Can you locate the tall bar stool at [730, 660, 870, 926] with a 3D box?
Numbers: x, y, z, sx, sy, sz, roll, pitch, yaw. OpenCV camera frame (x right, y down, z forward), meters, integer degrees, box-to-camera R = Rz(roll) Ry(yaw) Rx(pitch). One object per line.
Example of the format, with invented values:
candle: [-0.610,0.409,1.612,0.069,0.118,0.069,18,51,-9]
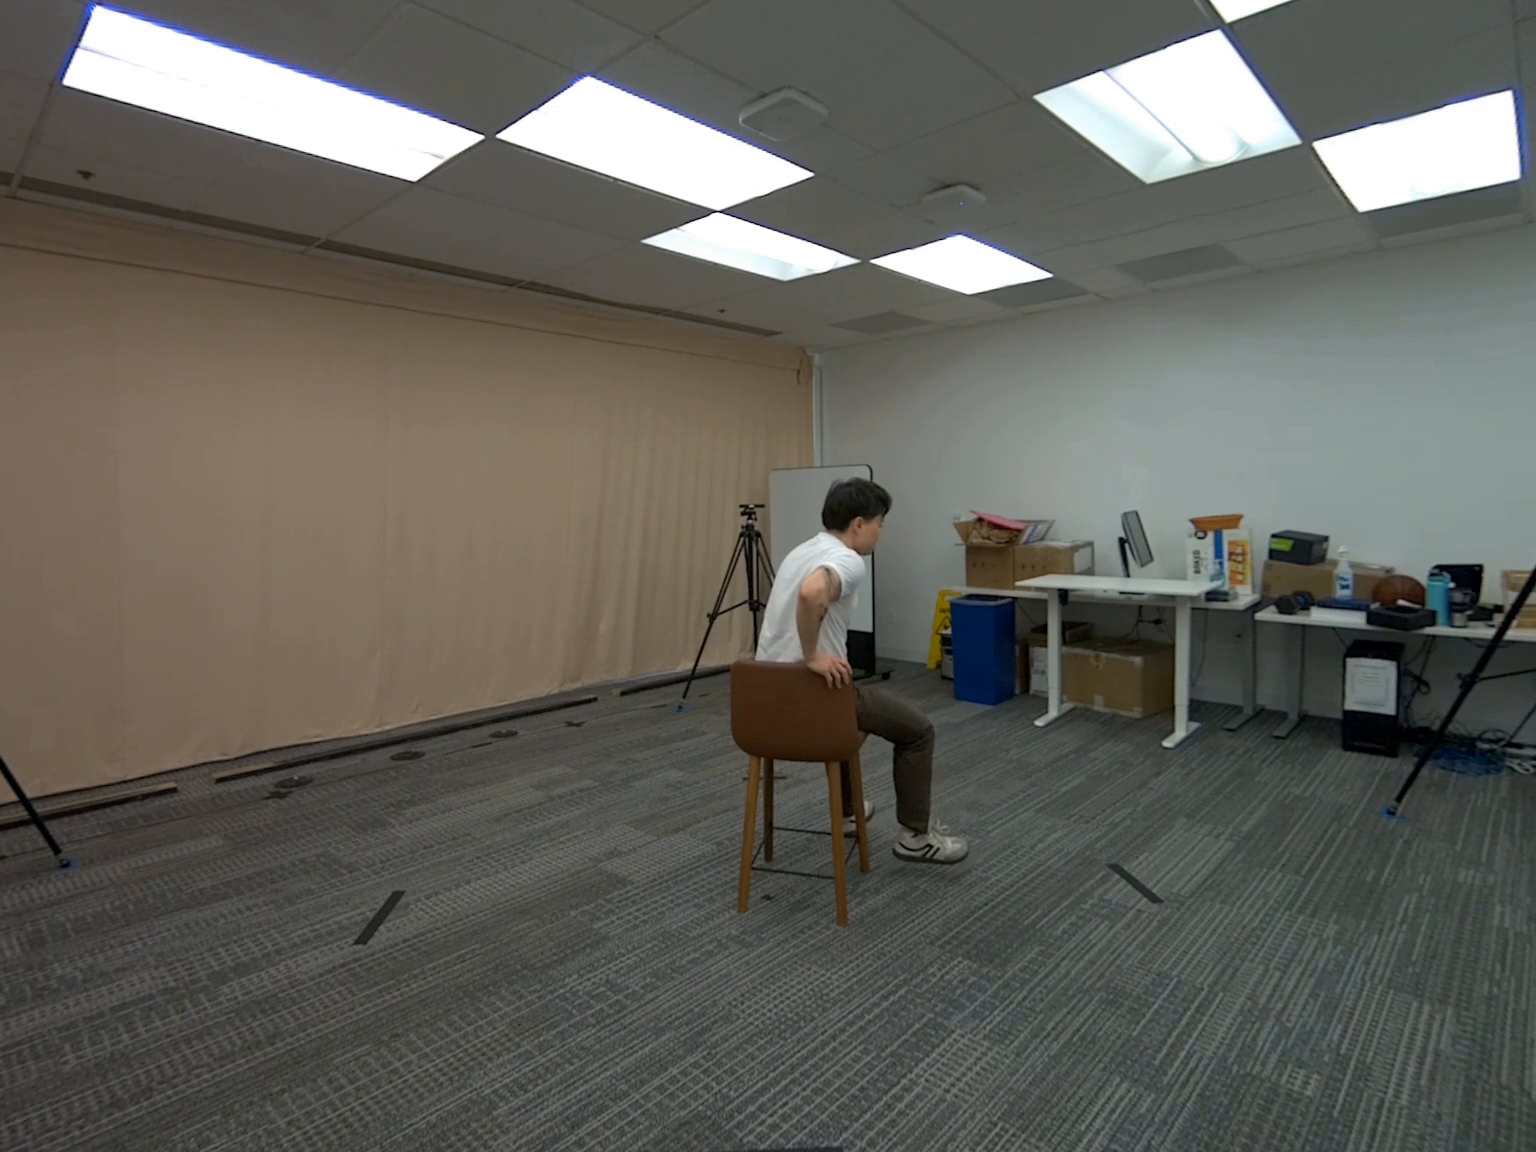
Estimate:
tall bar stool: [0.121,0.703,3.004,0.466,0.887,0.460,0,5,18]
